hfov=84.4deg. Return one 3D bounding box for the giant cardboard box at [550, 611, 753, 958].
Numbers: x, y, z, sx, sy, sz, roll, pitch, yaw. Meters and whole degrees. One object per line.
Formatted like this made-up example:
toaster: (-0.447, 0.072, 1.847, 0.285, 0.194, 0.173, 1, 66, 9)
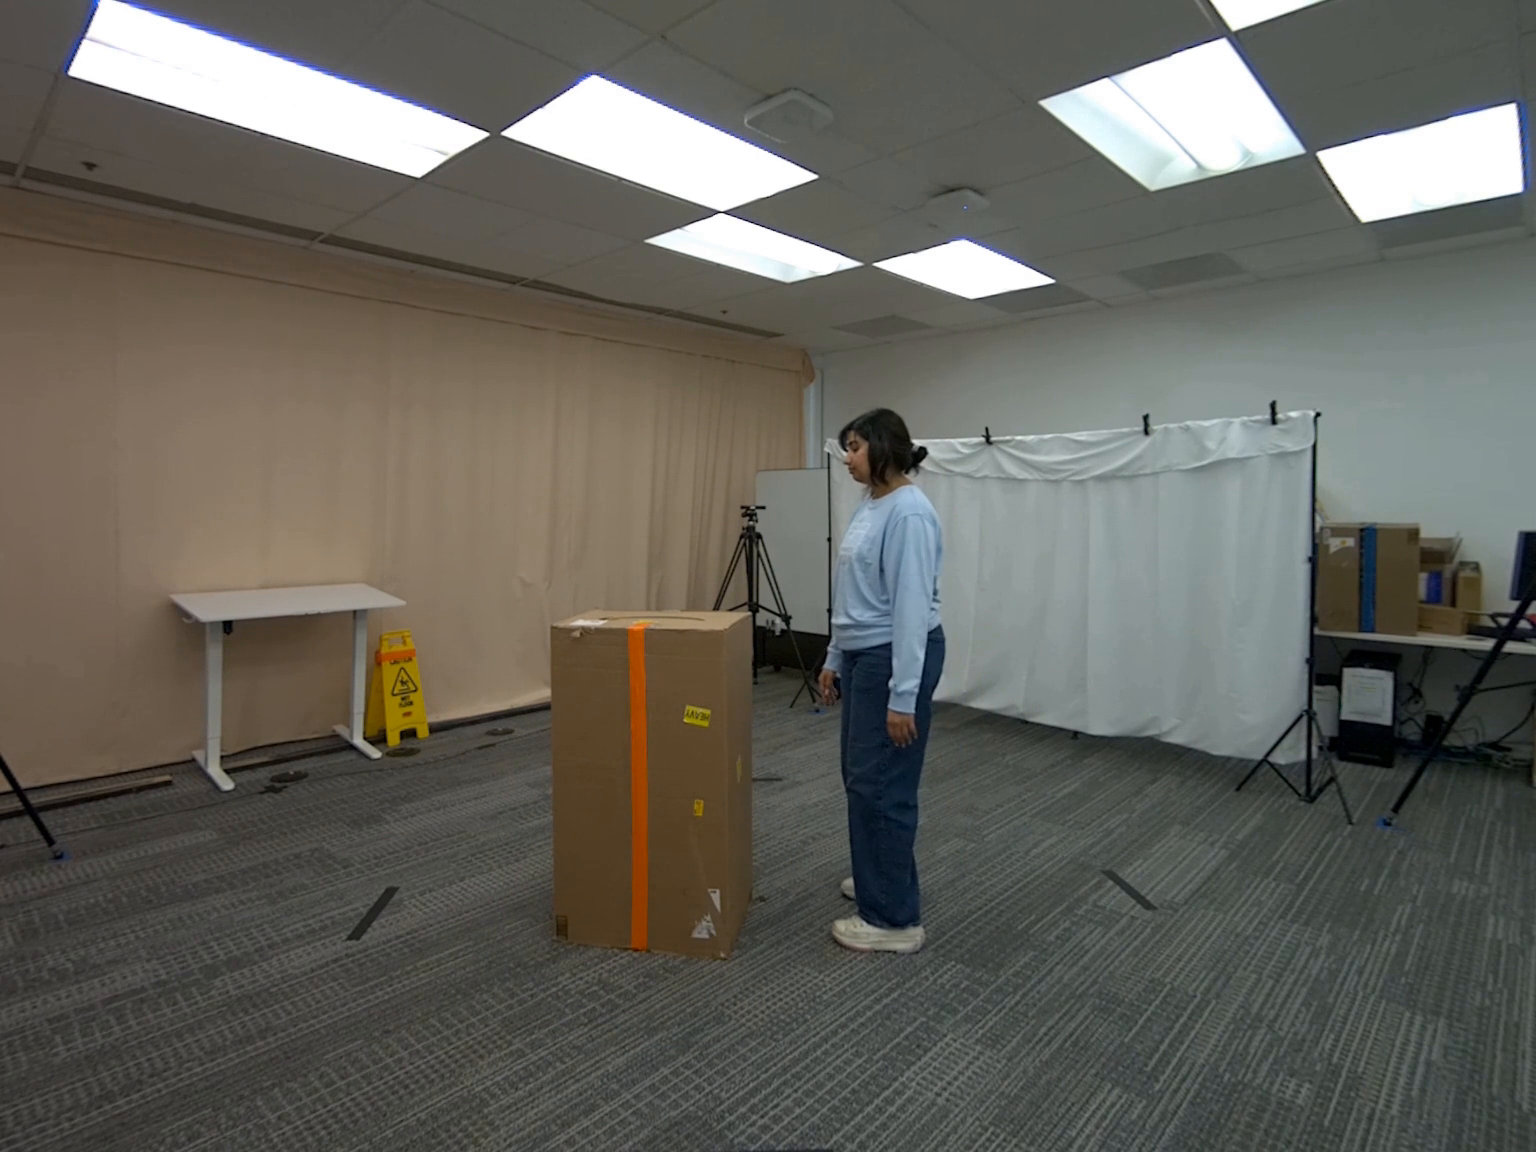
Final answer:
giant cardboard box: (-0.366, 0.653, 2.821, 0.585, 1.024, 0.422, 0, 3, 11)
